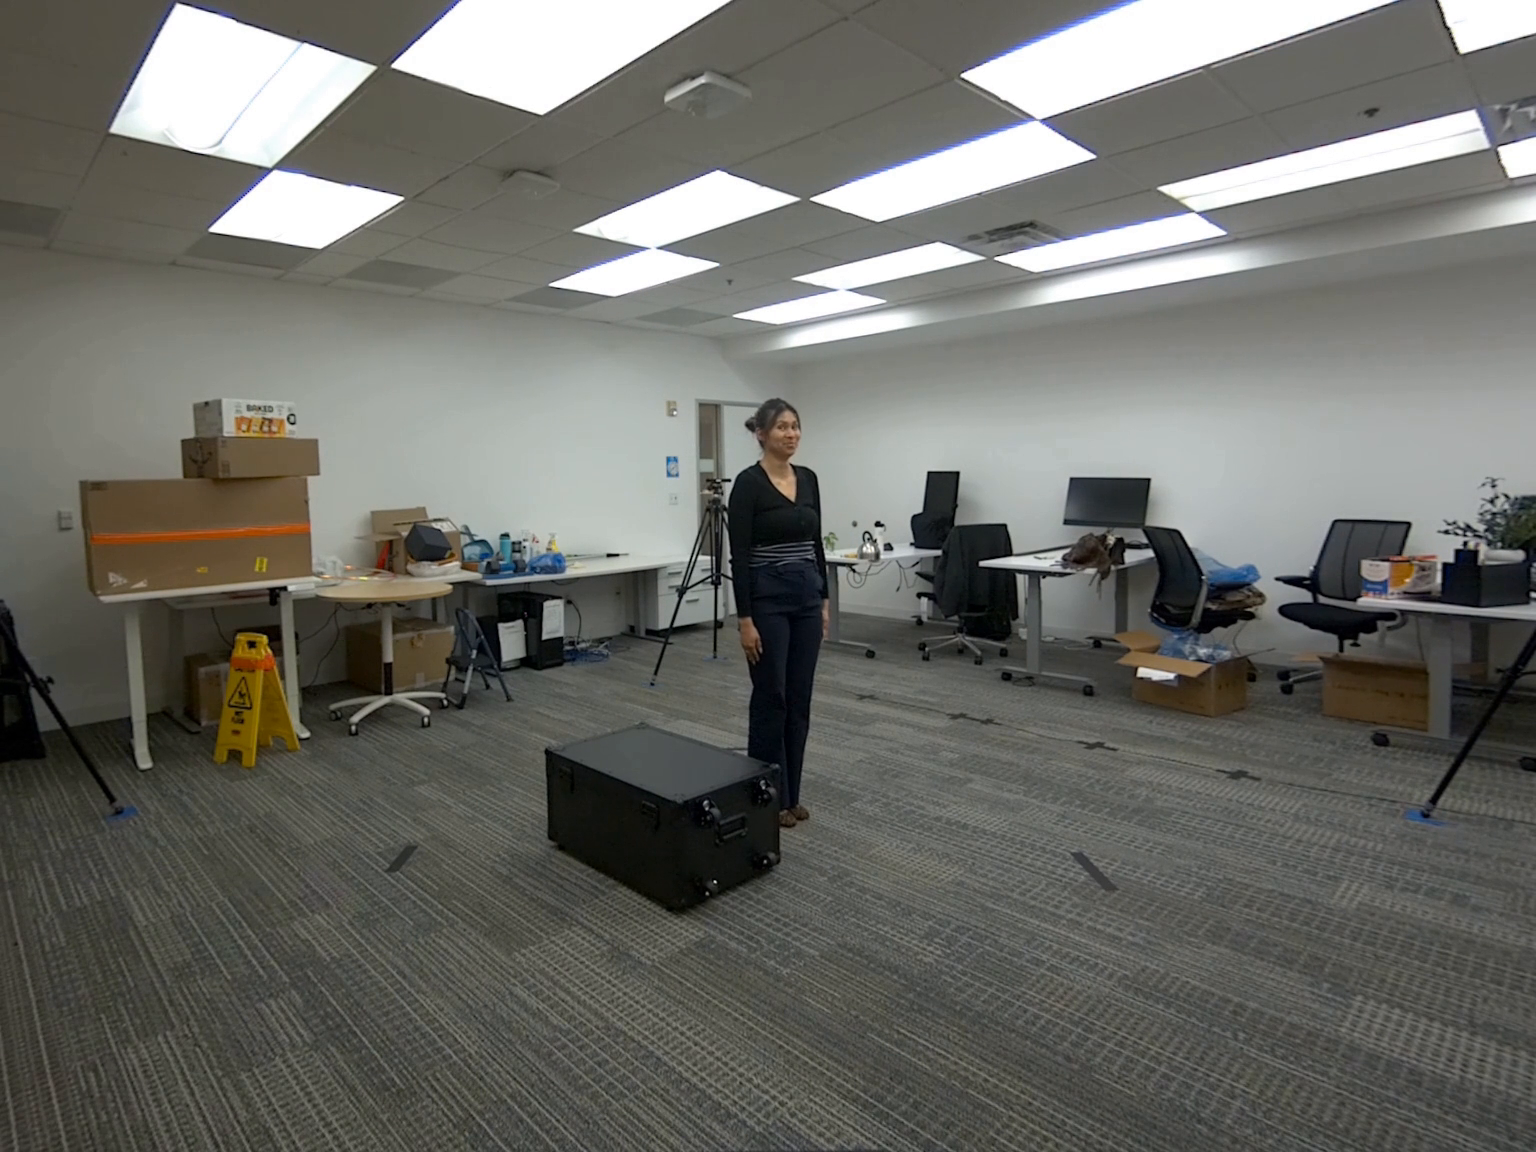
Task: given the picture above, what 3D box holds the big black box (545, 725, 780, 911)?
[{"bbox_3d":[-0.417,0.851,3.182,0.507,0.394,0.888,-5,8,-44],"label":"big black box"}]
